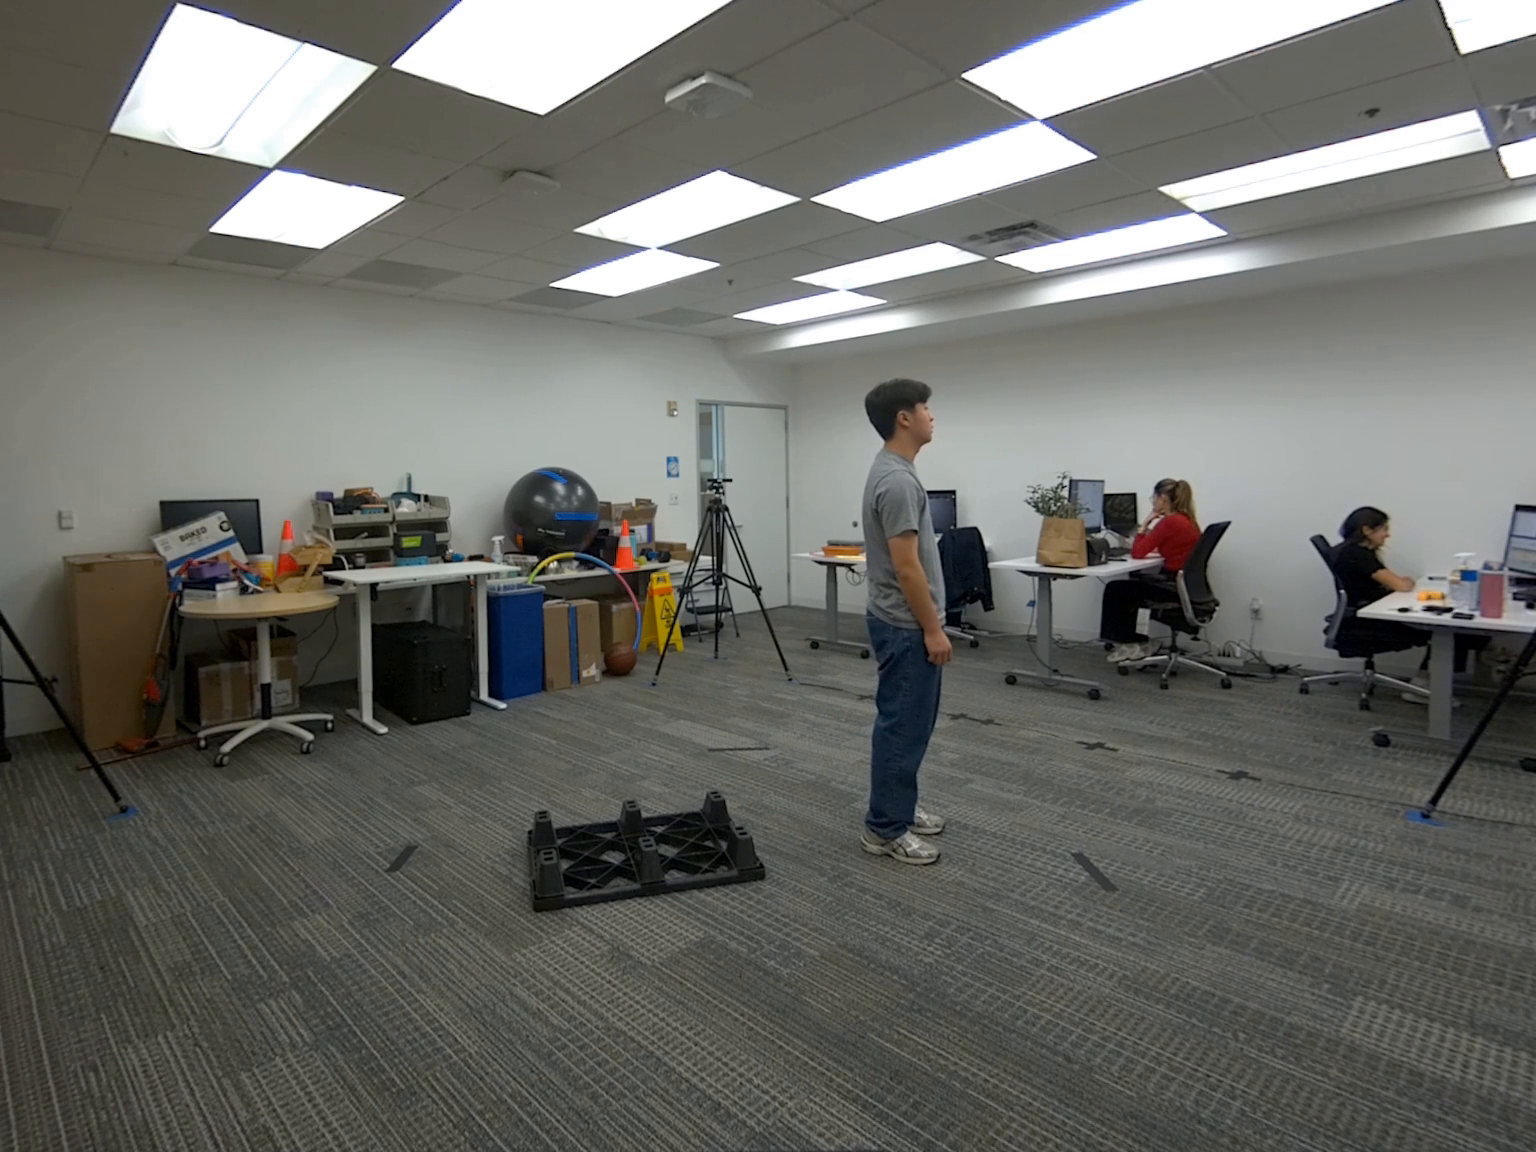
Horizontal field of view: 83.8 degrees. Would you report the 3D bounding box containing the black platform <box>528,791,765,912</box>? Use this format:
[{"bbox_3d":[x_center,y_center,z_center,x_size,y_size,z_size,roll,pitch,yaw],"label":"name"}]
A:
[{"bbox_3d":[-0.469,0.980,3.165,0.794,0.143,0.617,-3,6,-16],"label":"black platform"}]
